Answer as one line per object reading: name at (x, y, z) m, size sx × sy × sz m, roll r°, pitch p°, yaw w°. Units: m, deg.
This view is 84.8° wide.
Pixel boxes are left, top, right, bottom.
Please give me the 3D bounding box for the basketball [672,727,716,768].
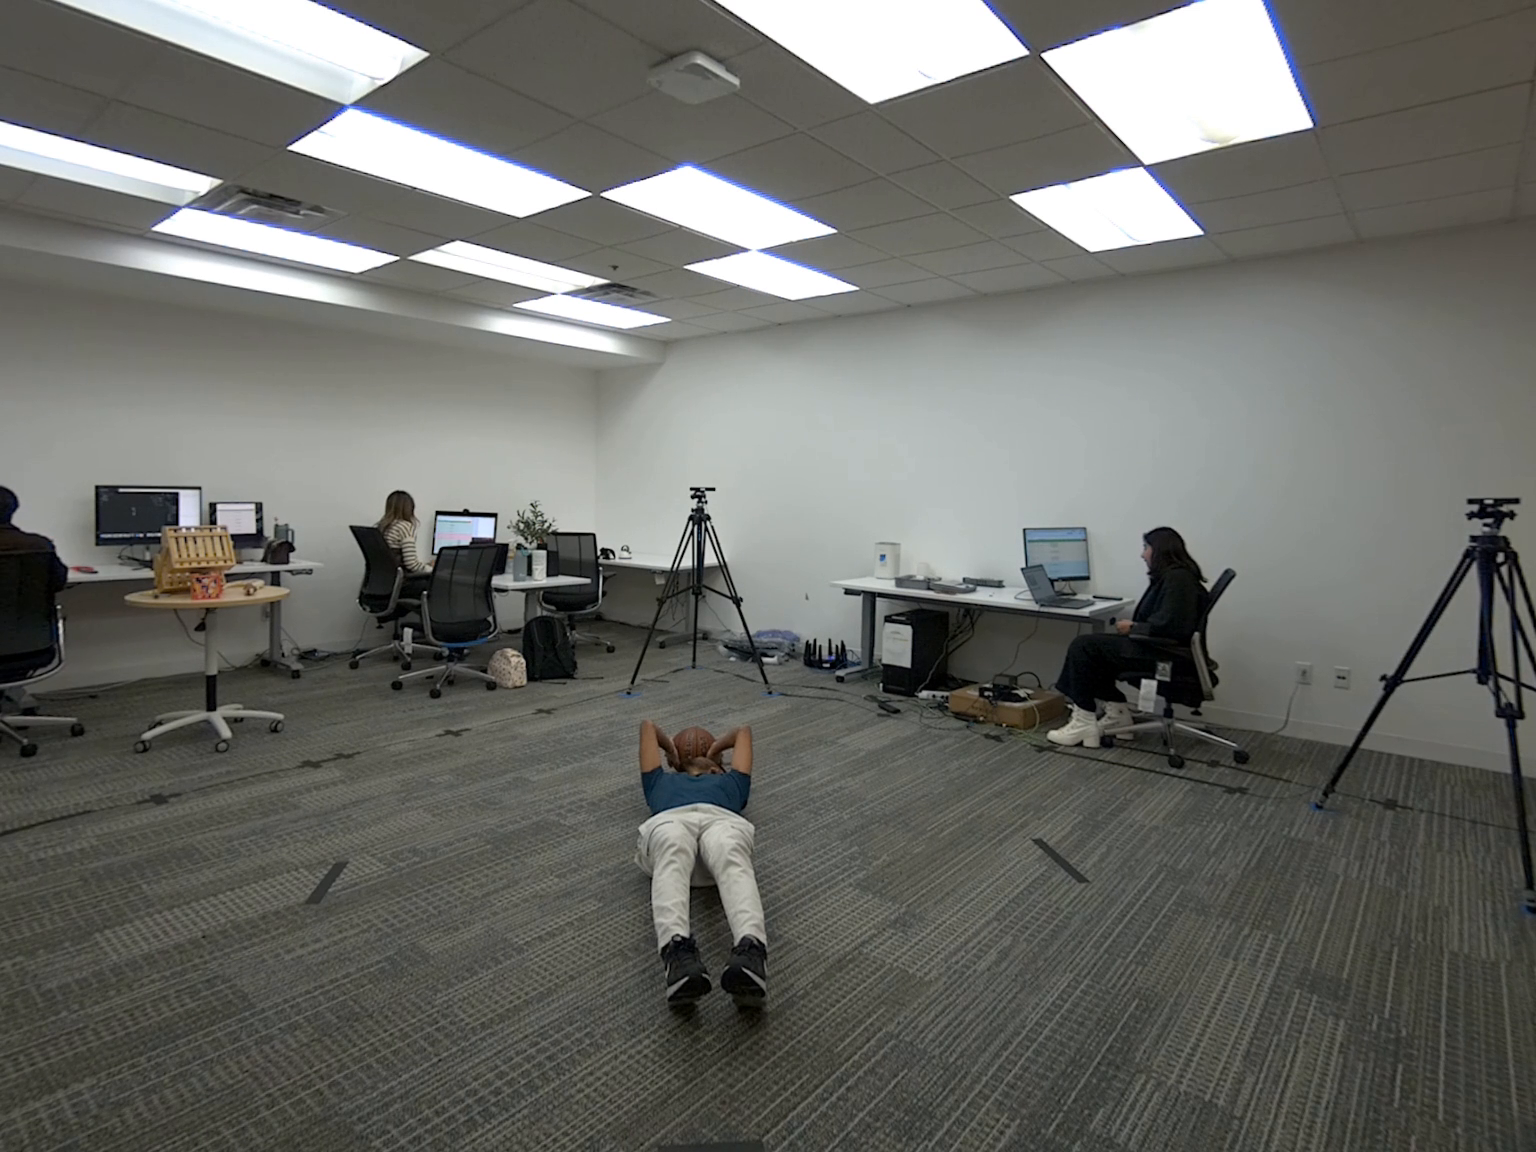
basketball at (-0.370, 0.846, 4.107) m, size 0.235 × 0.235 × 0.237 m, roll 1°, pitch 4°, yaw -2°
